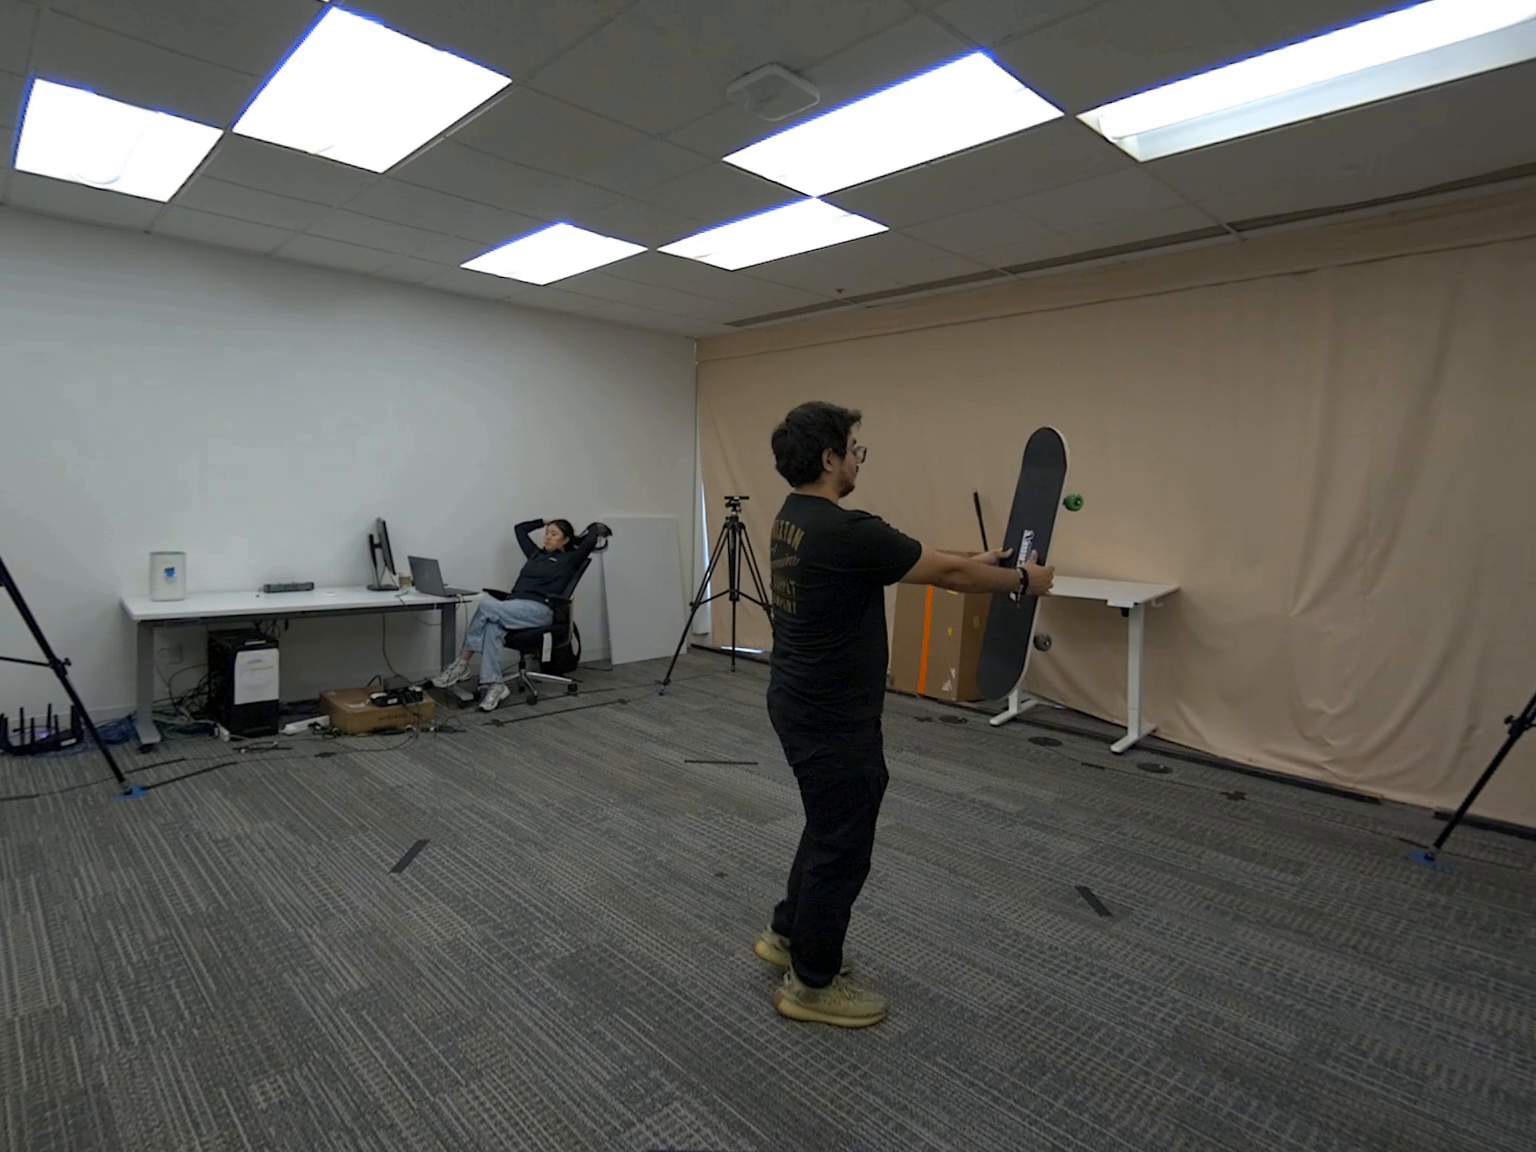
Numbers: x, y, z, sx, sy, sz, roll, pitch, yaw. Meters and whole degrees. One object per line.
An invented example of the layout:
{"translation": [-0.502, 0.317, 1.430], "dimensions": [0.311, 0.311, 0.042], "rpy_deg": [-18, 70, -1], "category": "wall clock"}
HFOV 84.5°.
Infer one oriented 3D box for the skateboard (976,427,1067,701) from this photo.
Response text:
{"translation": [0.744, -0.021, 2.391], "dimensions": [0.108, 0.784, 0.197], "rpy_deg": [10, 3, -23], "category": "skateboard"}
